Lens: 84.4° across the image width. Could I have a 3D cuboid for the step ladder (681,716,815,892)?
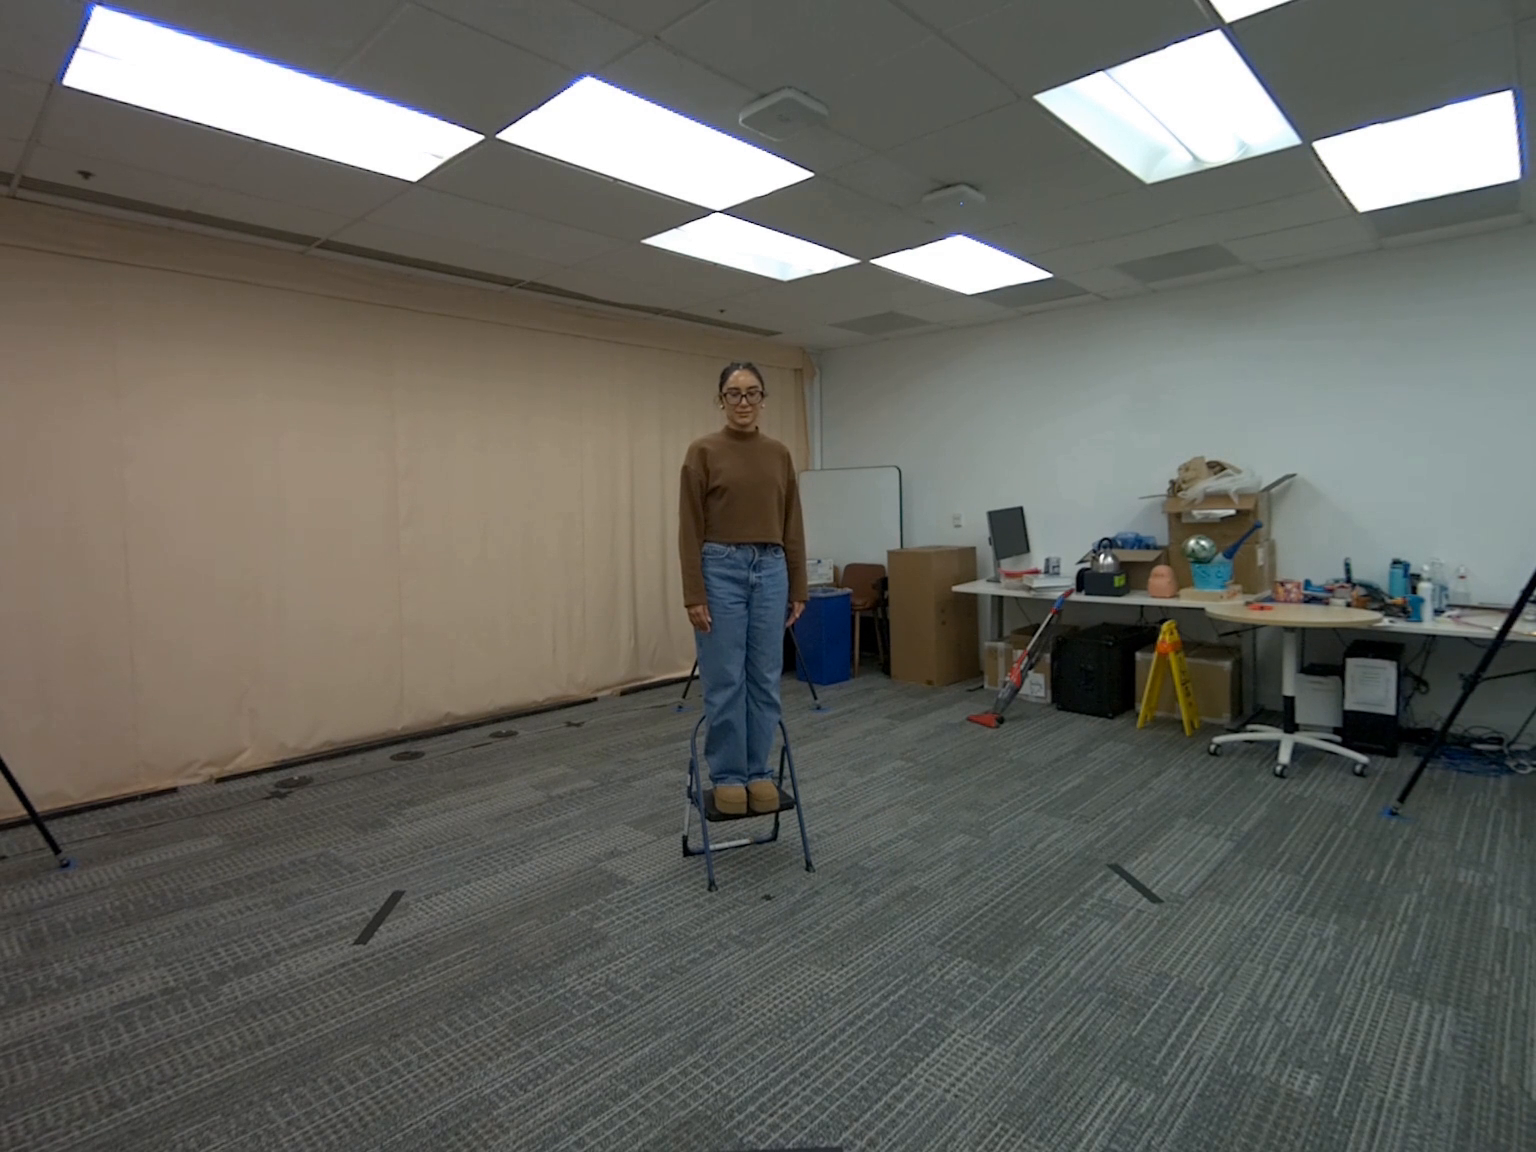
[{"bbox_3d":[-0.089,0.819,3.263,0.421,0.605,0.358,-3,4,-23],"label":"step ladder"}]
